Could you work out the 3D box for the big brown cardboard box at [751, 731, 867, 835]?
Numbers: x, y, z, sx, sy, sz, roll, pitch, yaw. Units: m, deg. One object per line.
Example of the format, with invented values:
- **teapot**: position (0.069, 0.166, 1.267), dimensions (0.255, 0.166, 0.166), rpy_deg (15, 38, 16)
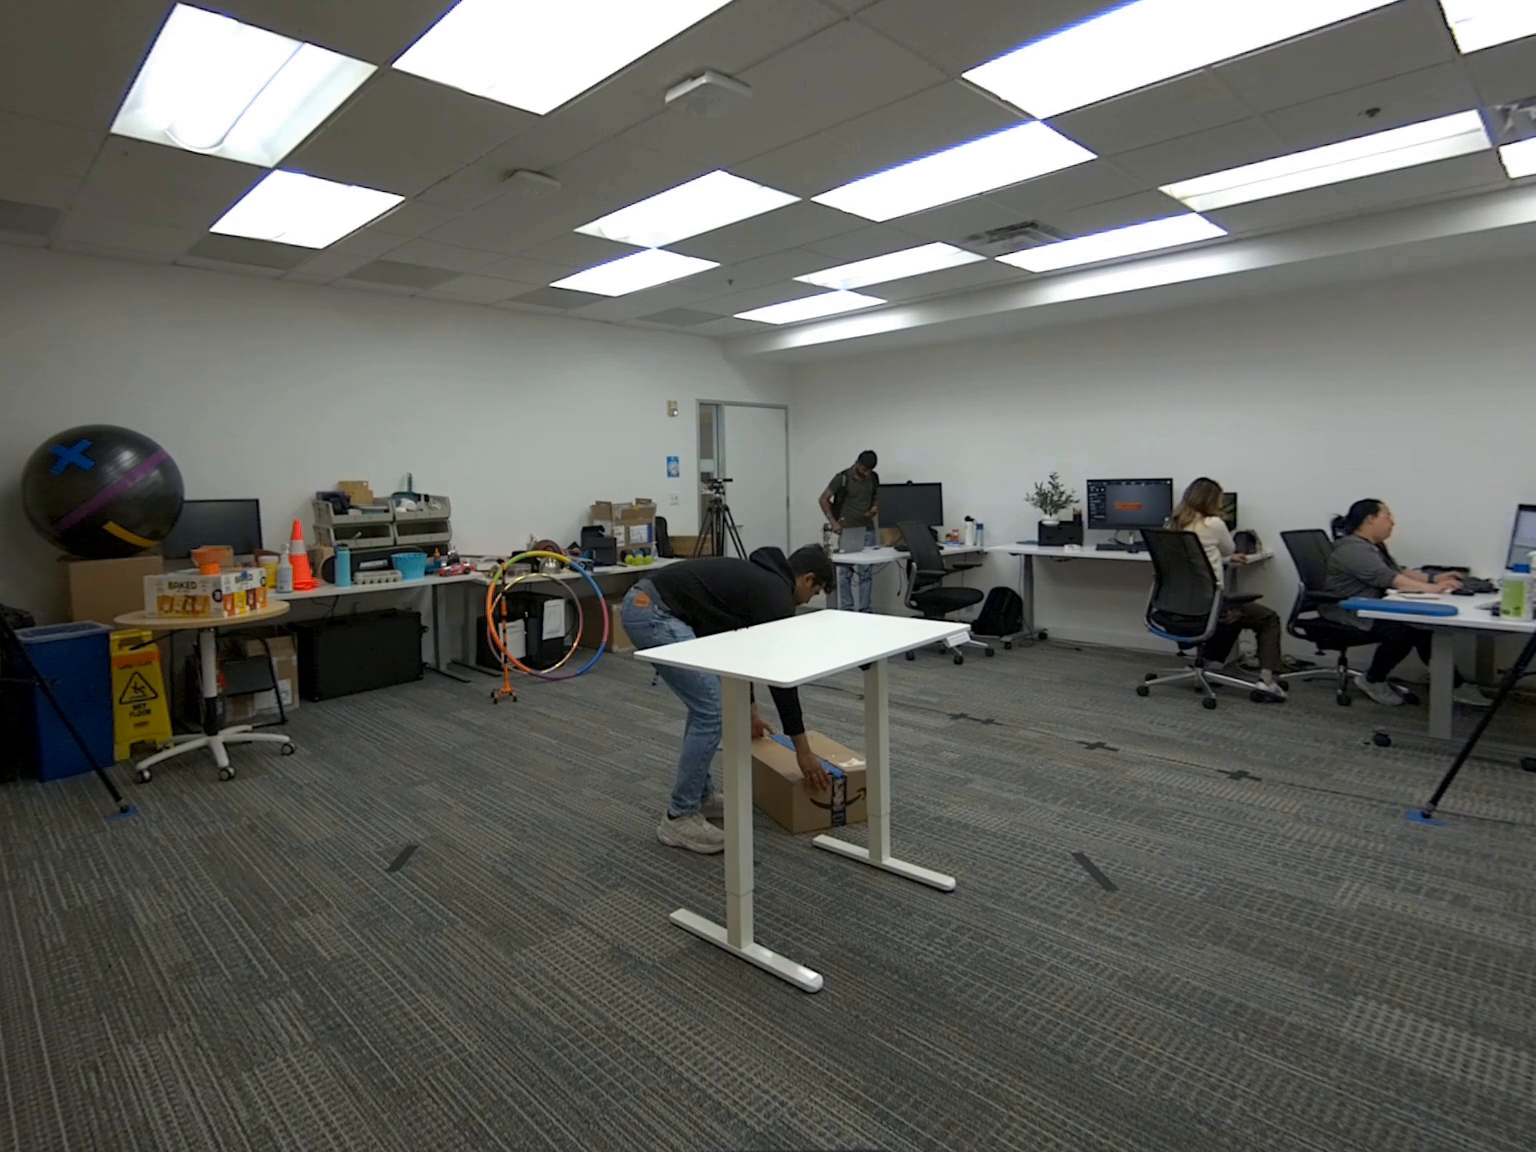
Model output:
- **big brown cardboard box**: position (0.158, 0.864, 3.668), dimensions (0.409, 0.232, 0.604), rpy_deg (-4, 6, -26)
